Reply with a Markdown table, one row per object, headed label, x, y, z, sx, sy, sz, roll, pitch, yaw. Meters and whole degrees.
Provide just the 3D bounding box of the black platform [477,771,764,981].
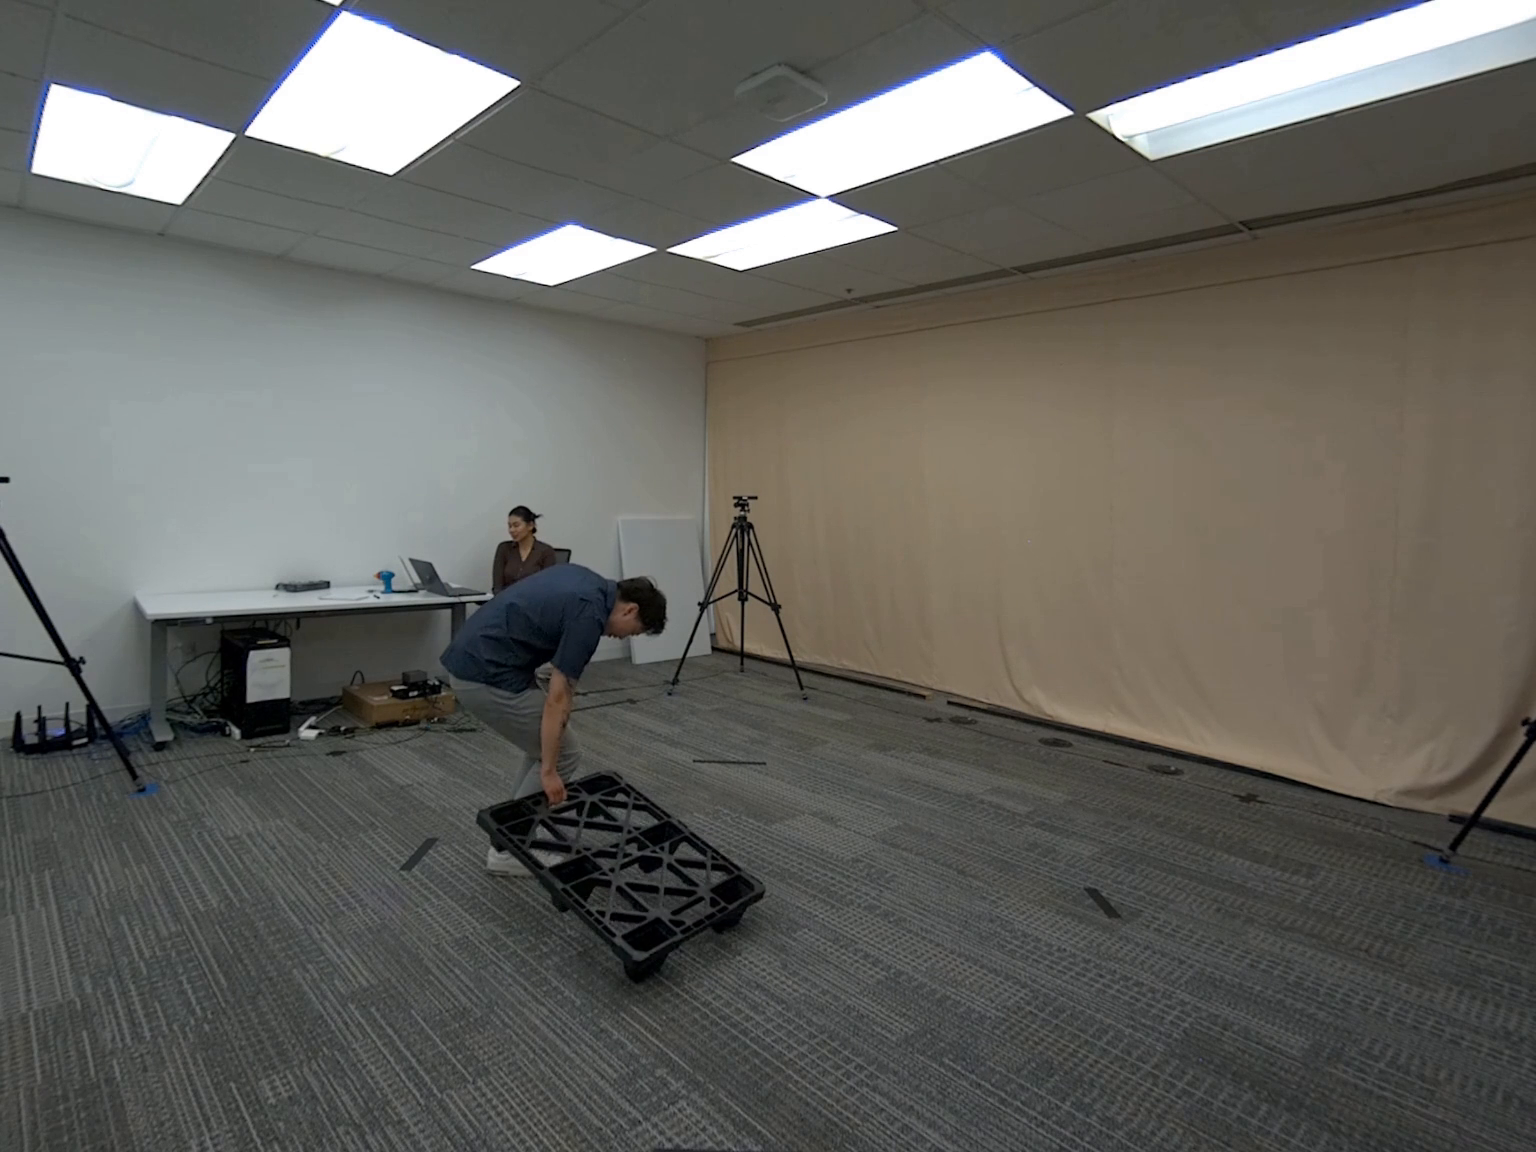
| label | x | y | z | sx | sy | sz | roll | pitch | yaw |
| --- | --- | --- | --- | --- | --- | --- | --- | --- | --- |
| black platform | -0.498 | 0.965 | 2.767 | 0.829 | 0.142 | 0.592 | 25 | 18 | 35 |
